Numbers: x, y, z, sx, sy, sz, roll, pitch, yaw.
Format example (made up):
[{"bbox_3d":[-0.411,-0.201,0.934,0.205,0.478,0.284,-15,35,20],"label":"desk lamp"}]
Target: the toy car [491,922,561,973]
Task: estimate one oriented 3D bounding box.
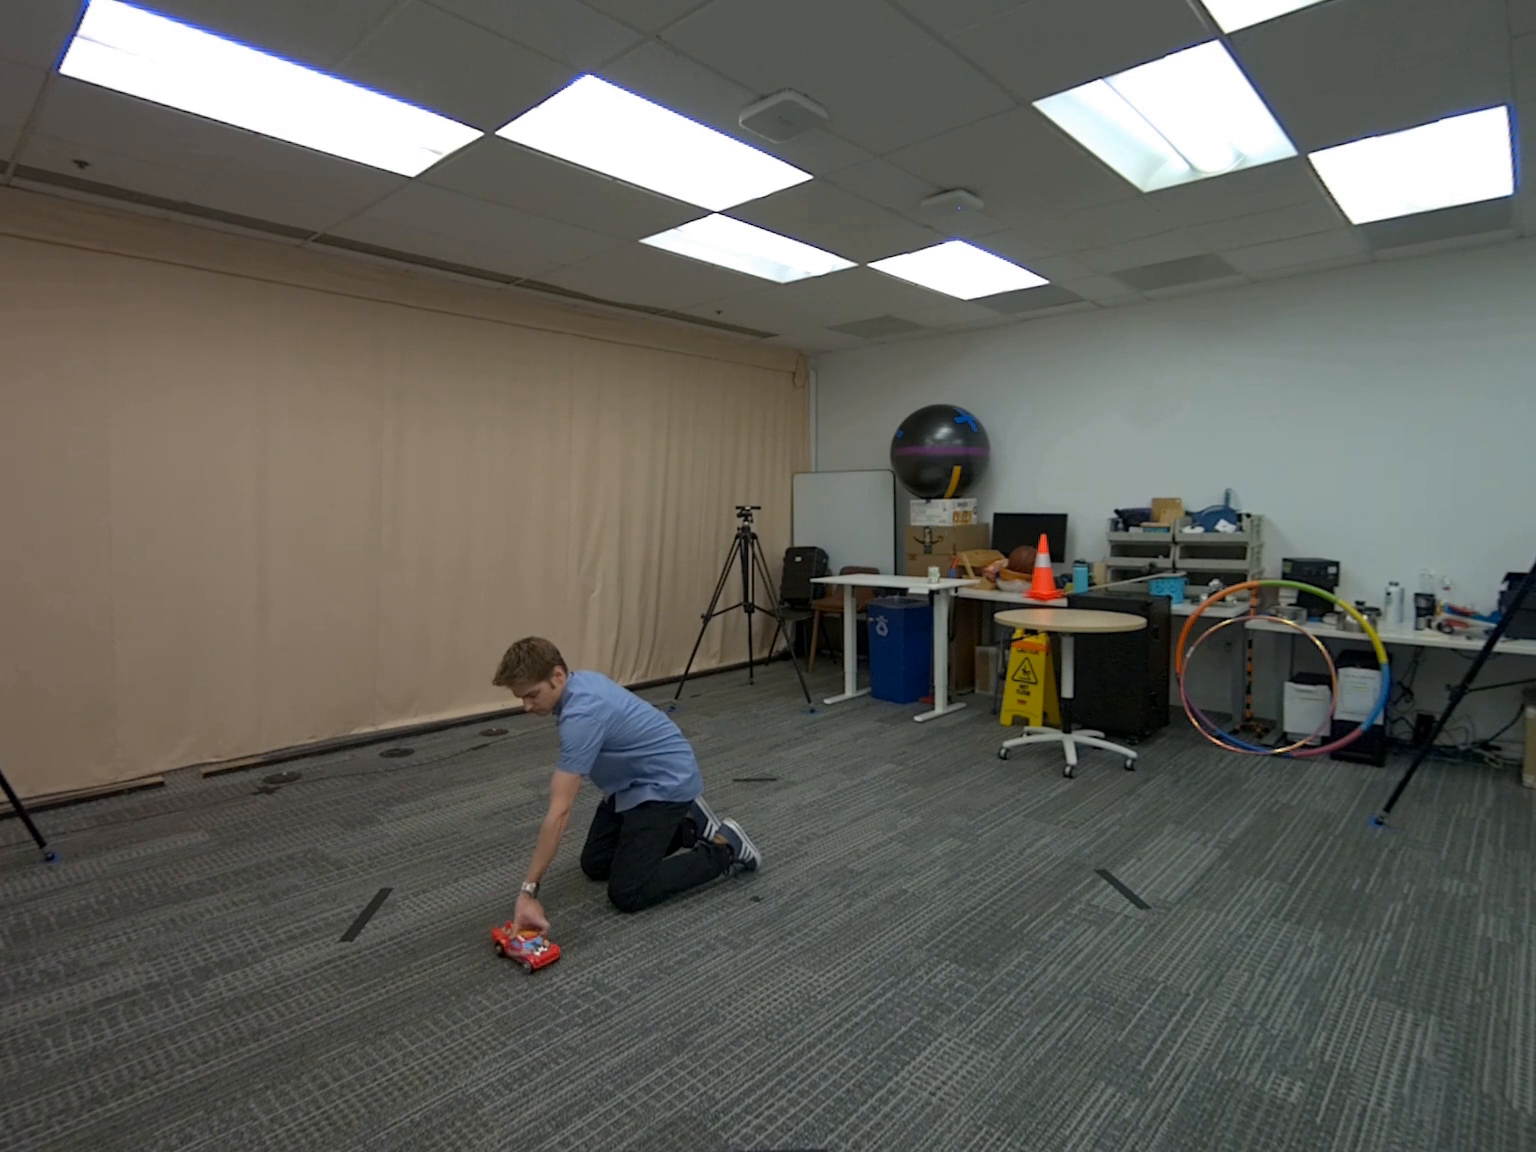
[{"bbox_3d":[-0.765,1.146,2.612,0.264,0.083,0.126,17,15,40],"label":"toy car"}]
